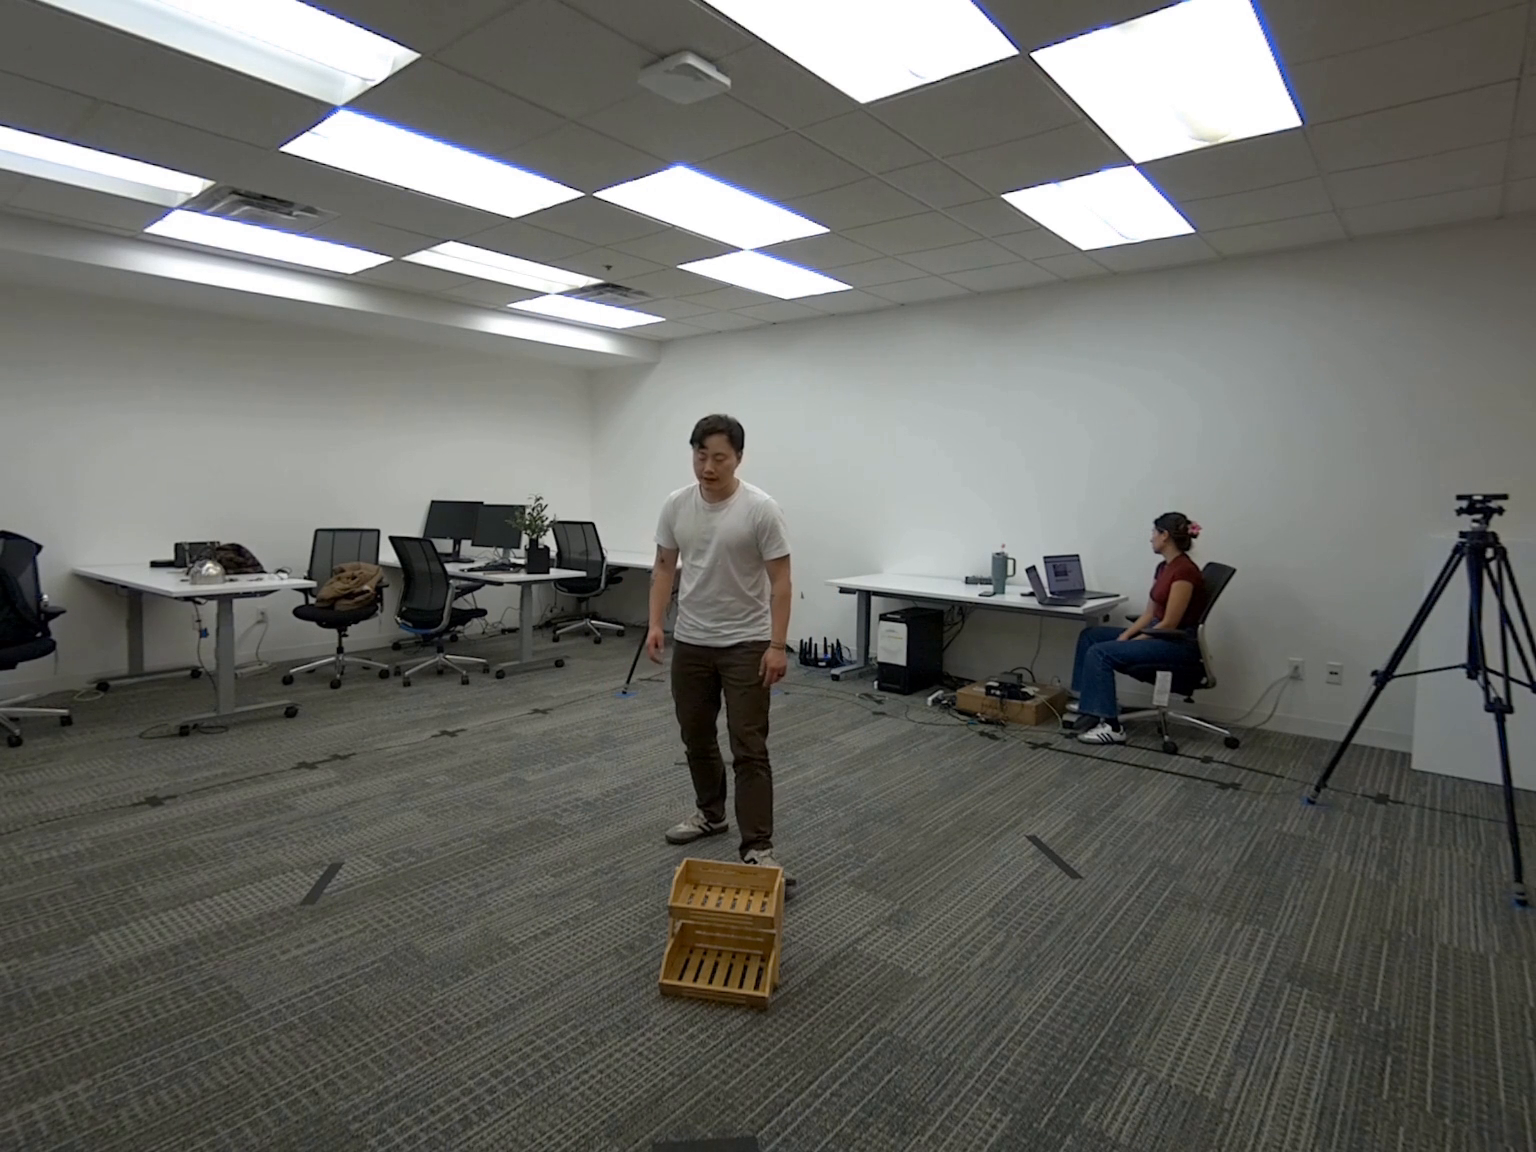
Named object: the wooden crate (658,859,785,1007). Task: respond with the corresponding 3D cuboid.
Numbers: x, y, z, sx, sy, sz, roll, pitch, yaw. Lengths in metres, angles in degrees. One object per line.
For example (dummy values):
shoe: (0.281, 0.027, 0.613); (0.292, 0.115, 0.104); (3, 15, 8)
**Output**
wooden crate: (-0.132, 1.002, 2.420); (0.328, 0.272, 0.300); (2, 5, 9)
